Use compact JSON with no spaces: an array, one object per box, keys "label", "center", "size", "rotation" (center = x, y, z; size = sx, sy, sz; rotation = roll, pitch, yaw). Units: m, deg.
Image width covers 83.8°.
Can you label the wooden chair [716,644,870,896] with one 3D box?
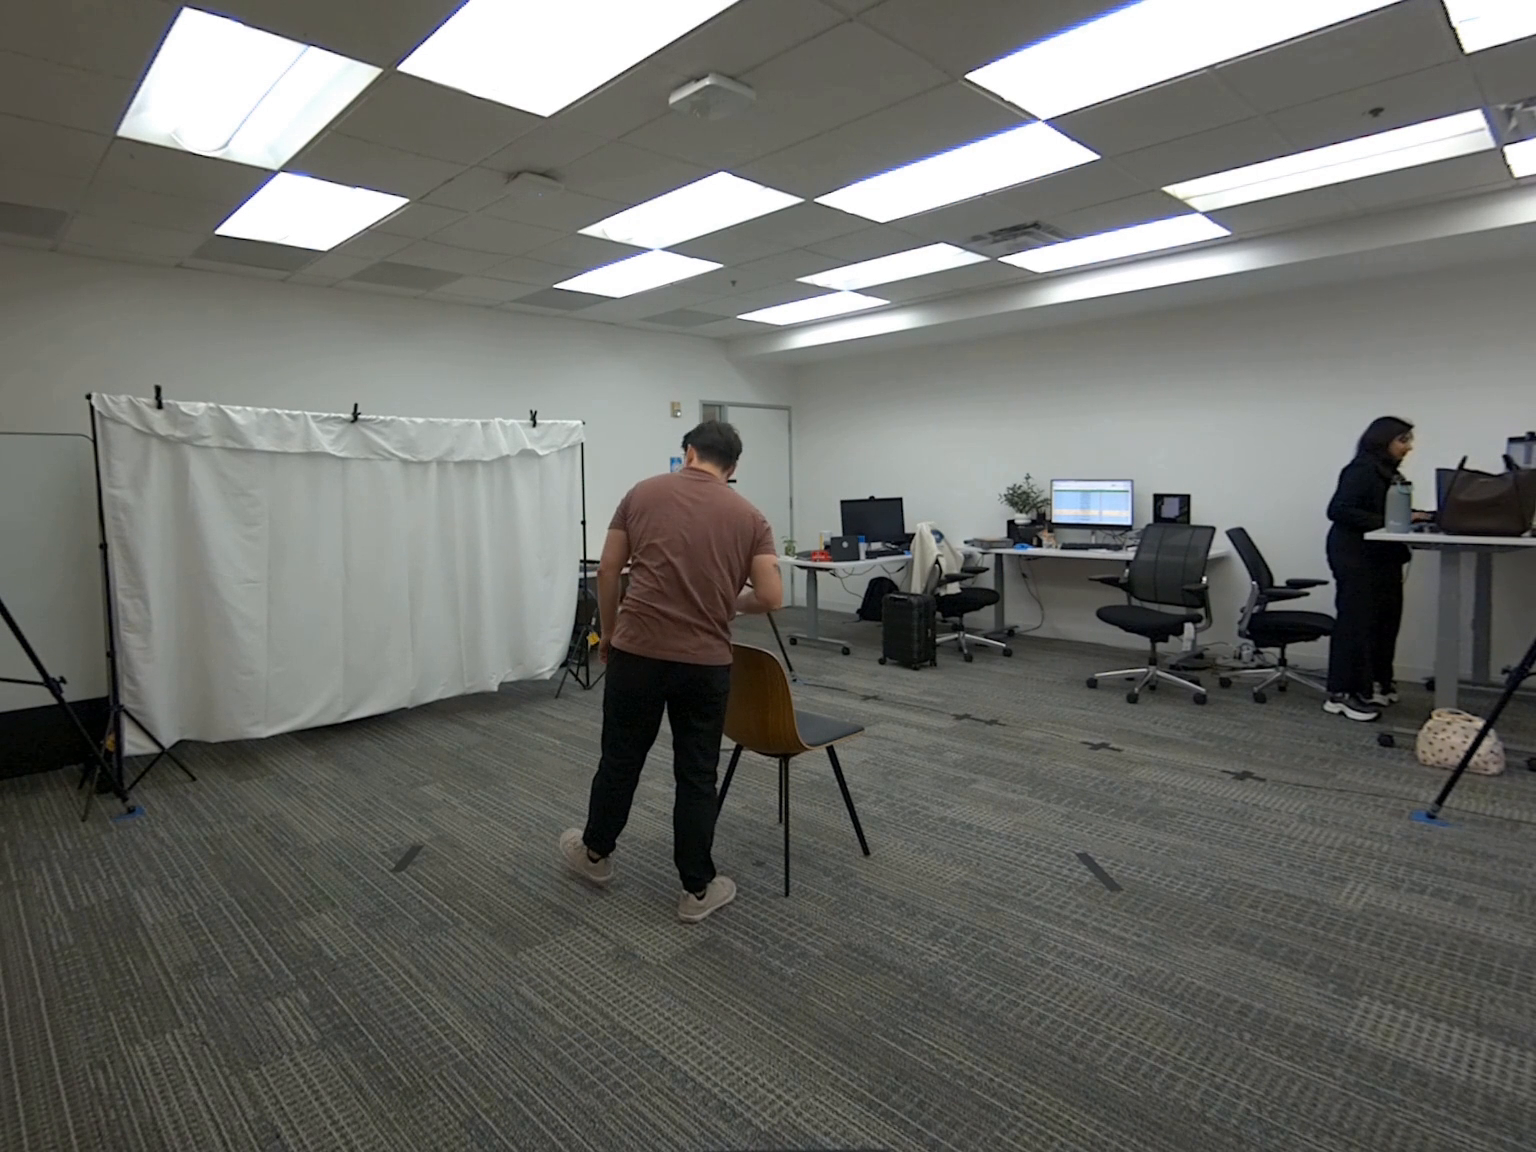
[{"label":"wooden chair","center":[0.062,0.616,3.151],"size":[0.511,0.872,0.493],"rotation":[-11,9,-44]}]
